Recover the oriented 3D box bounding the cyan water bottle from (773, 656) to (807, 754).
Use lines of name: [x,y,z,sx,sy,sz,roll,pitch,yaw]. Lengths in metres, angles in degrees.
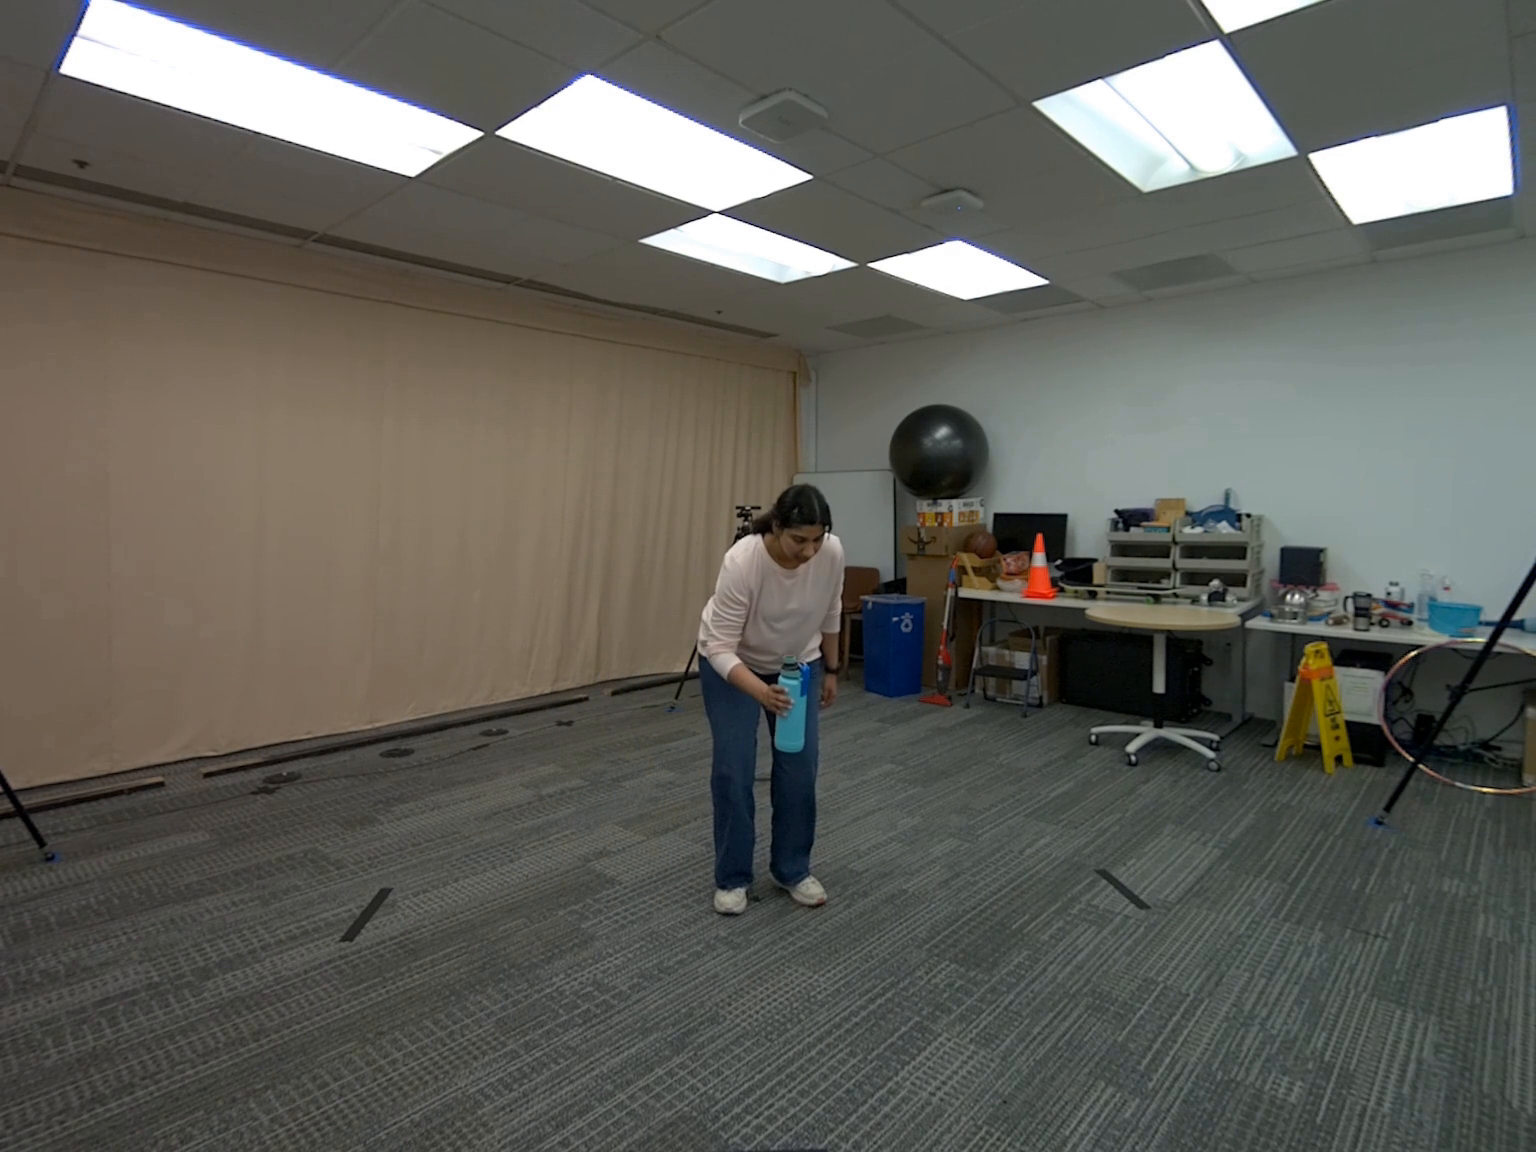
cyan water bottle: [0.076,0.388,2.561,0.092,0.282,0.093,3,10,-3]
